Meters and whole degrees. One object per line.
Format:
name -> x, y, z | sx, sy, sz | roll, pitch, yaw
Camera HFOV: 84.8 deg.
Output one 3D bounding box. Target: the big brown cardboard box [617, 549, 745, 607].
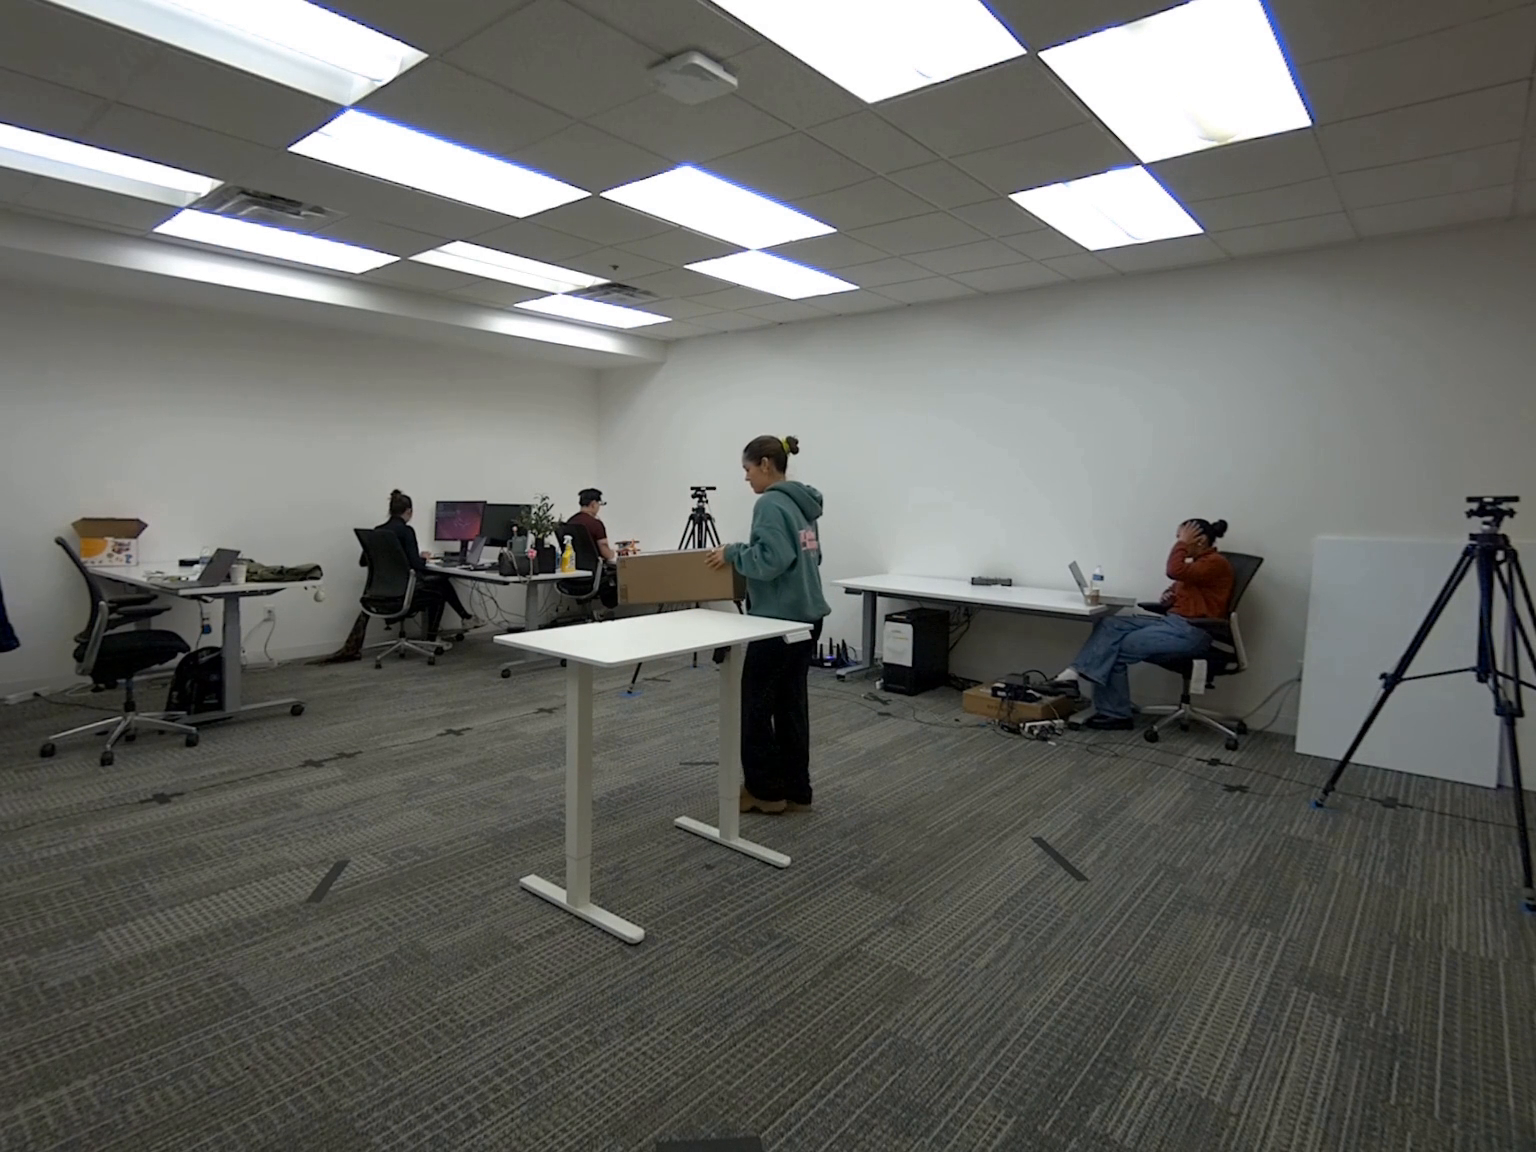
big brown cardboard box -> -0.354, 0.001, 3.883 | 0.602, 0.234, 0.407 | -3, -1, 23
